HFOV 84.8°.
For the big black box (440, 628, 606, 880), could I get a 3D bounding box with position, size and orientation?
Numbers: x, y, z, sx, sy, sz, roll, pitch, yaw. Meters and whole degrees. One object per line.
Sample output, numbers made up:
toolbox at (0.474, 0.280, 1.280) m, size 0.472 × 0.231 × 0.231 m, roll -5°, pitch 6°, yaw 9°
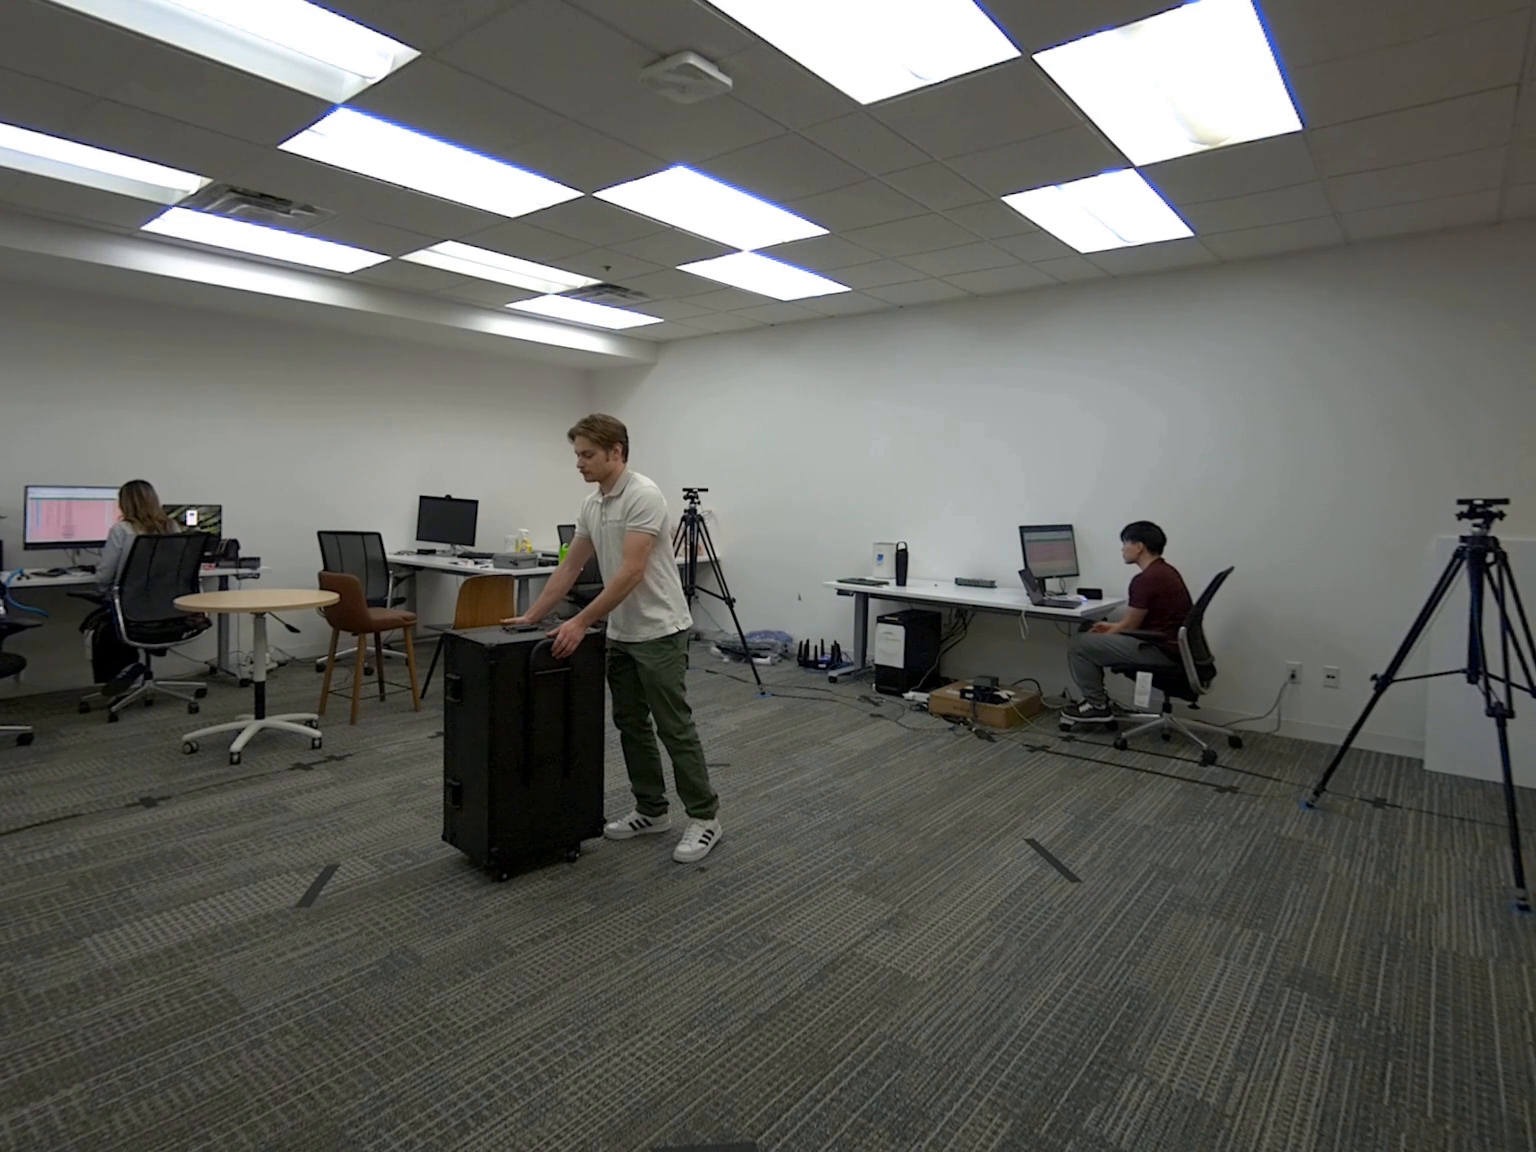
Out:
big black box at (-0.916, 0.636, 3.173) m, size 0.507 × 0.866 × 0.398 m, roll -2°, pitch 4°, yaw -44°
